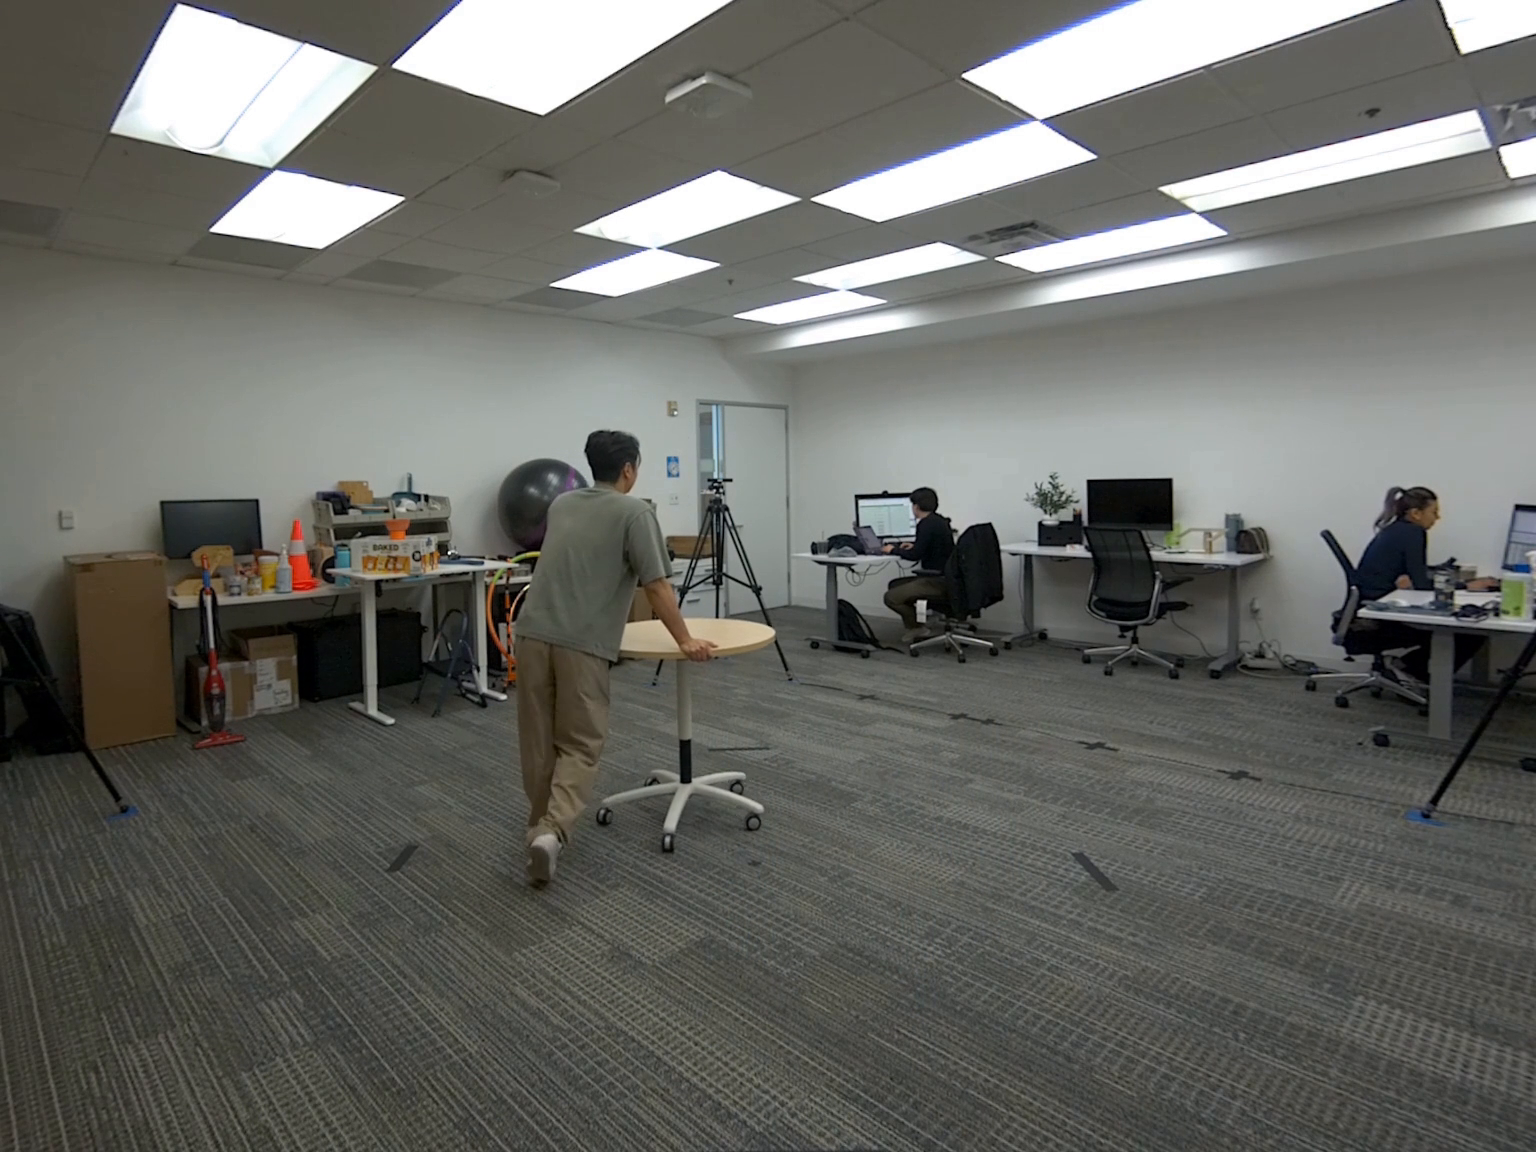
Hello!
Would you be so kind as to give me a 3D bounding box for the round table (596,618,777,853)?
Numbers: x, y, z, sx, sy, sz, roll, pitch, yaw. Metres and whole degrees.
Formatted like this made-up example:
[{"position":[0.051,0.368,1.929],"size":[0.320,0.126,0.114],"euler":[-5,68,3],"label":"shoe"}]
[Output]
[{"position":[-0.334,0.617,3.532],"size":[0.784,0.784,0.789],"euler":[-1,5,-2],"label":"round table"}]
